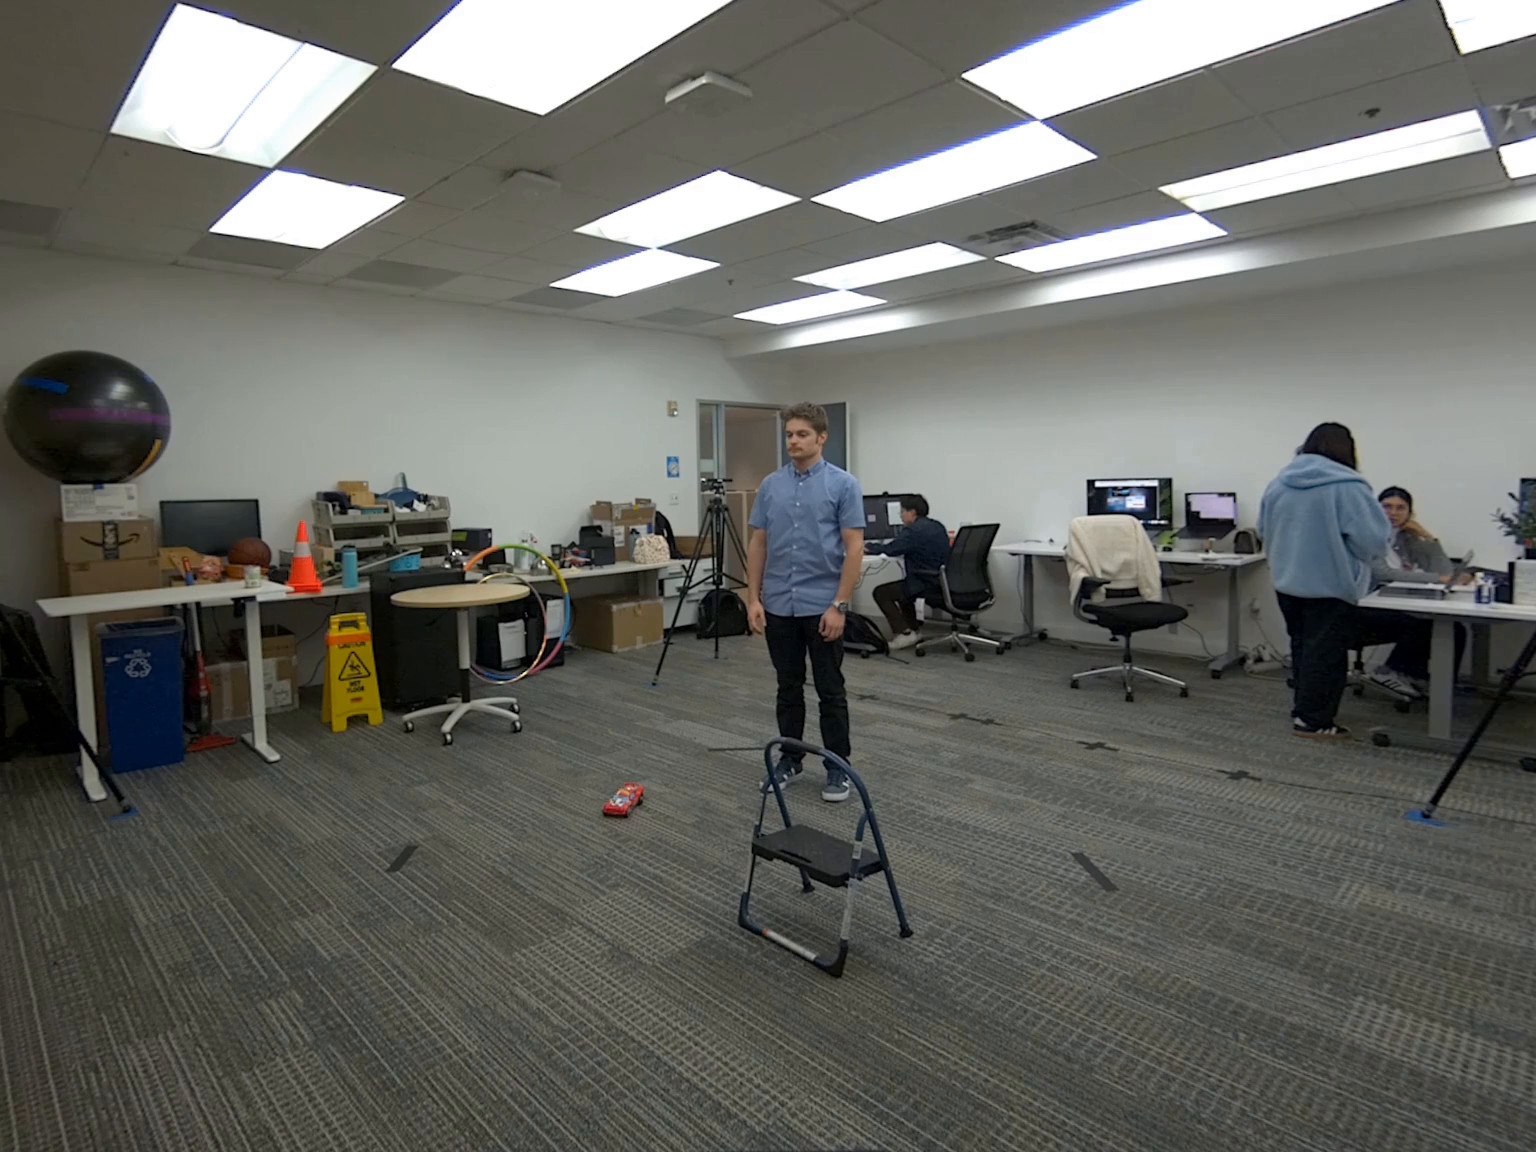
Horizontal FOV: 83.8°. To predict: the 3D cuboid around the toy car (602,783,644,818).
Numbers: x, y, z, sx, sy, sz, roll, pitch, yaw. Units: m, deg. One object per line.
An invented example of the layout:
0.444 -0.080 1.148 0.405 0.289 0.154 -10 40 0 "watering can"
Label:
-0.613 0.960 3.667 0.132 0.082 0.255 0 17 12 "toy car"
